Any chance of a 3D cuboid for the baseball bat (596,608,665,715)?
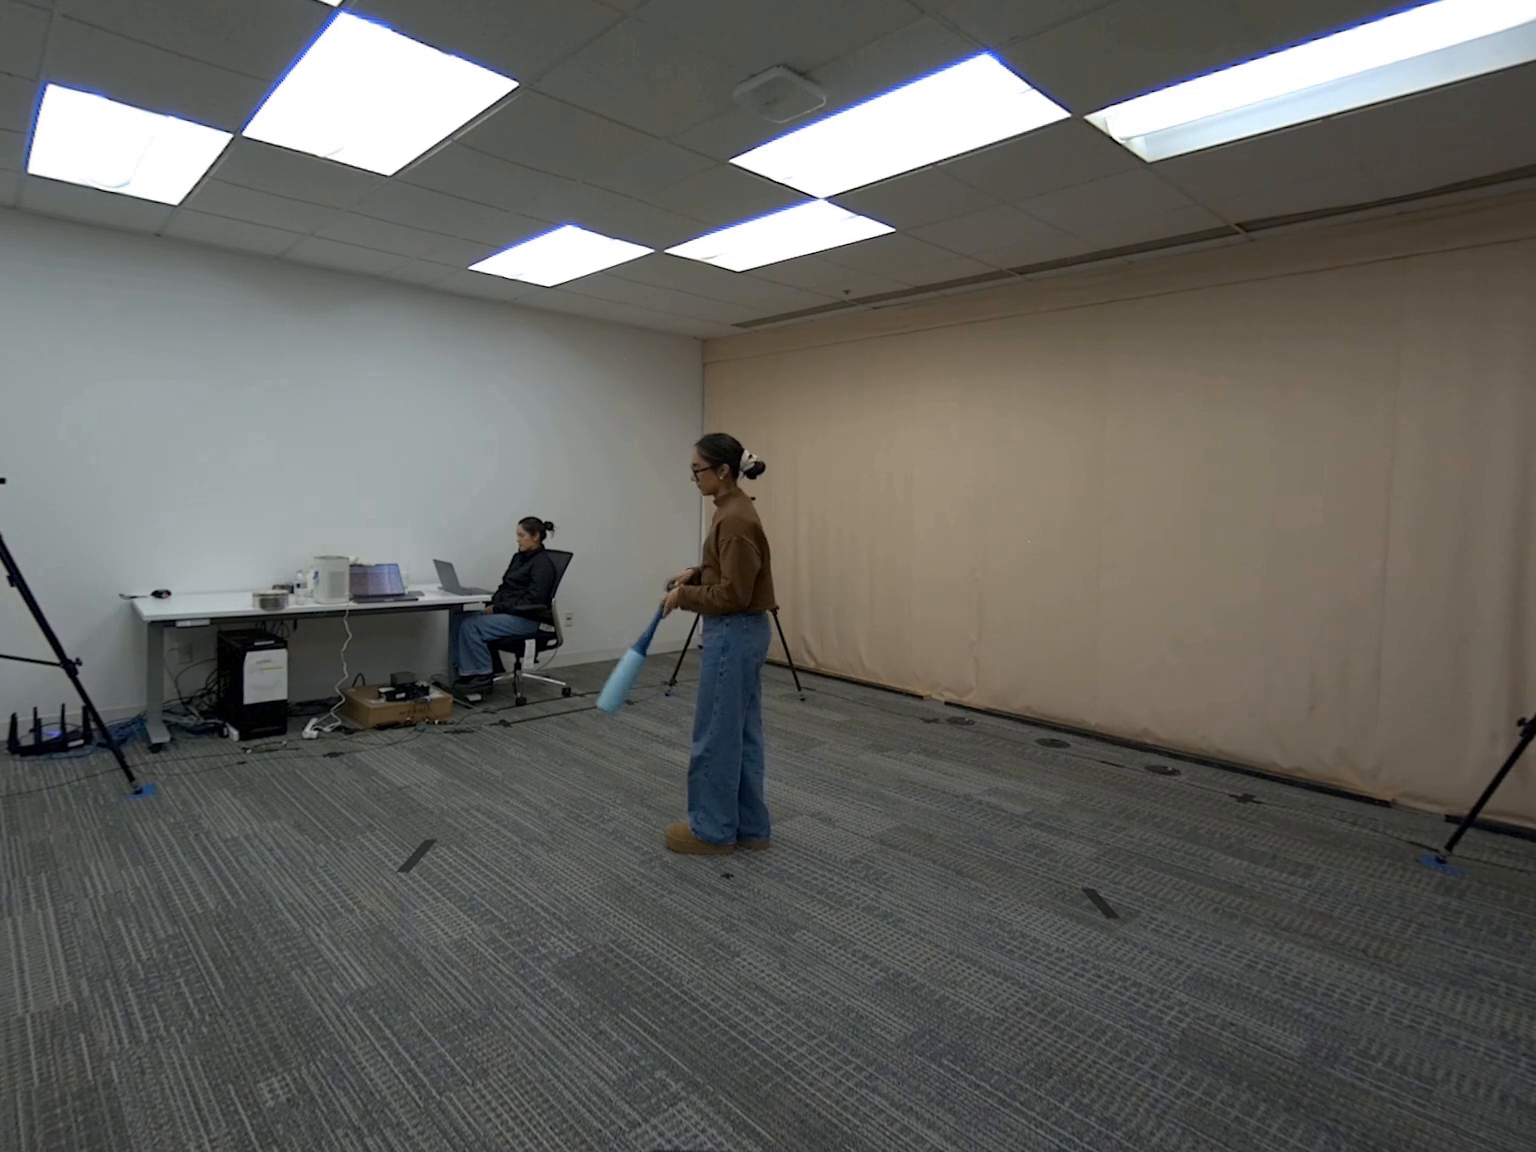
[{"bbox_3d":[-0.474,0.252,3.191,0.089,0.544,0.088,28,-9,3],"label":"baseball bat"}]
